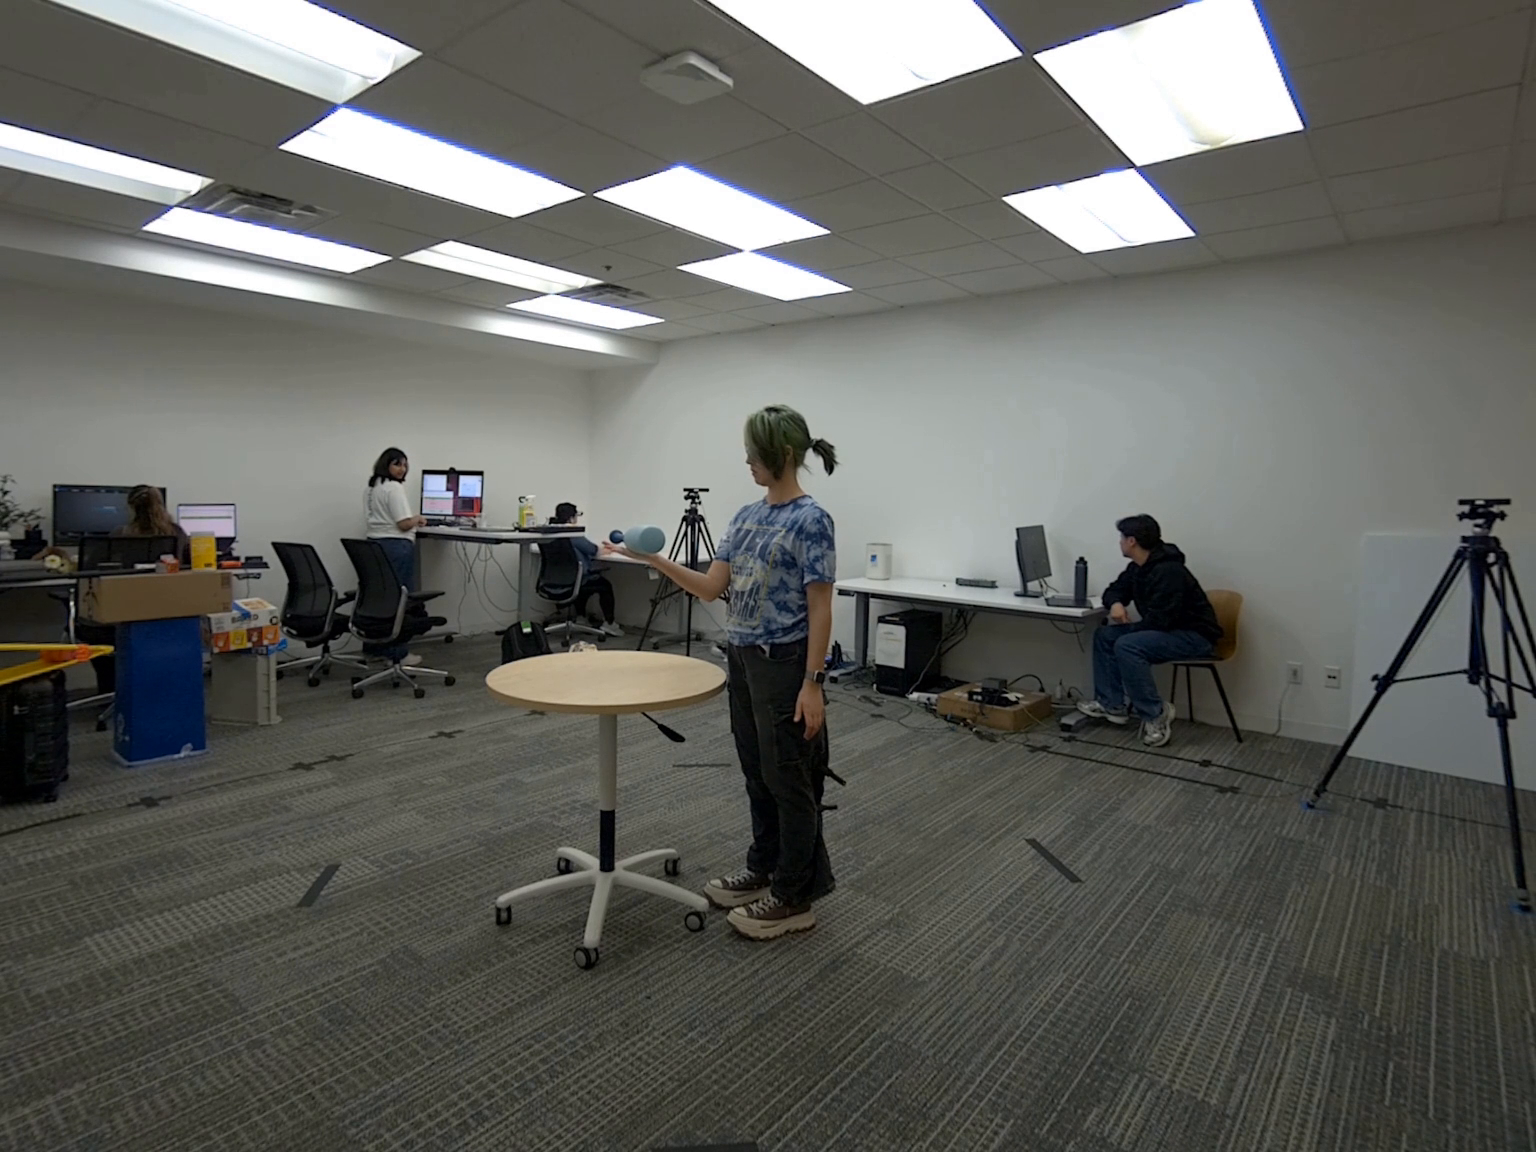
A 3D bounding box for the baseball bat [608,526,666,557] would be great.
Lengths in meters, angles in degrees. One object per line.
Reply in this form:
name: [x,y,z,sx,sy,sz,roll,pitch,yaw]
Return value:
baseball bat: [-0.455,-0.119,2.735,0.087,0.089,0.554,-1,3,-21]
